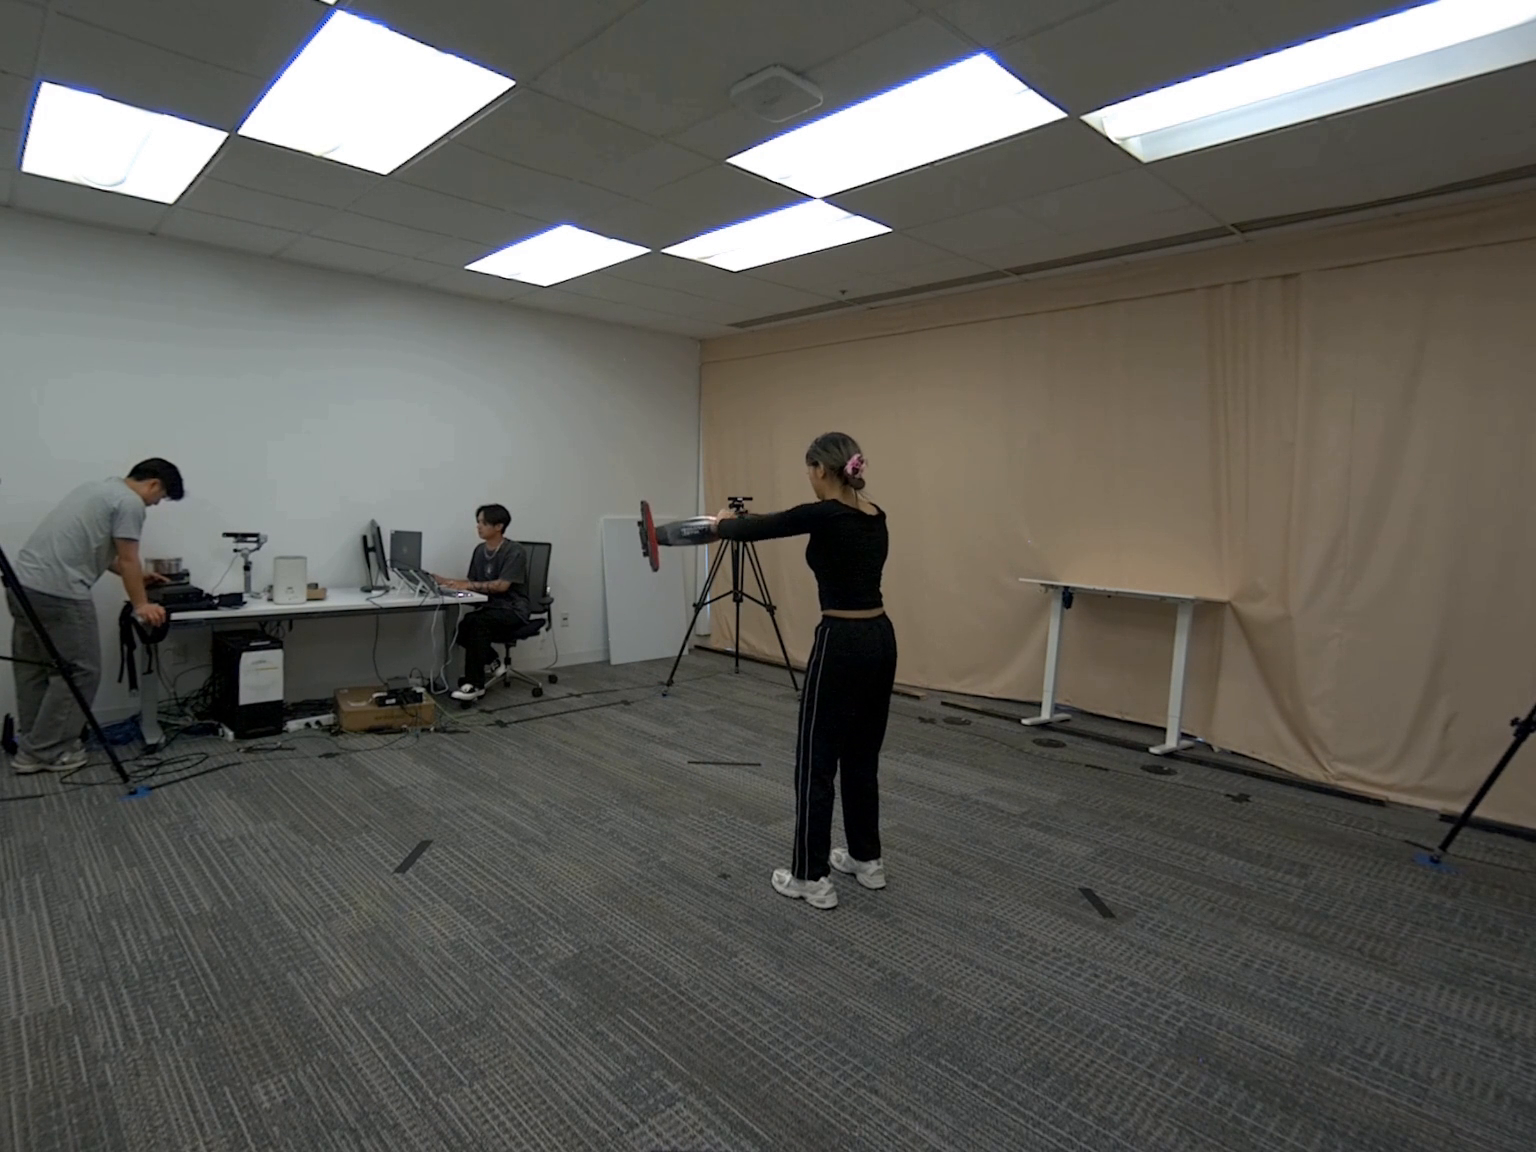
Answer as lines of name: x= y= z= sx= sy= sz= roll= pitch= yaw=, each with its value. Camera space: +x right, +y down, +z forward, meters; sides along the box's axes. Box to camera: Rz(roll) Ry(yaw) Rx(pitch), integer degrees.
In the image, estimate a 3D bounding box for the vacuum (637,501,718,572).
vacuum: x=-0.065 y=-0.196 z=3.321 sx=1.028 sy=0.253 sz=0.146 roll=-10 pitch=-4 yaw=-43
